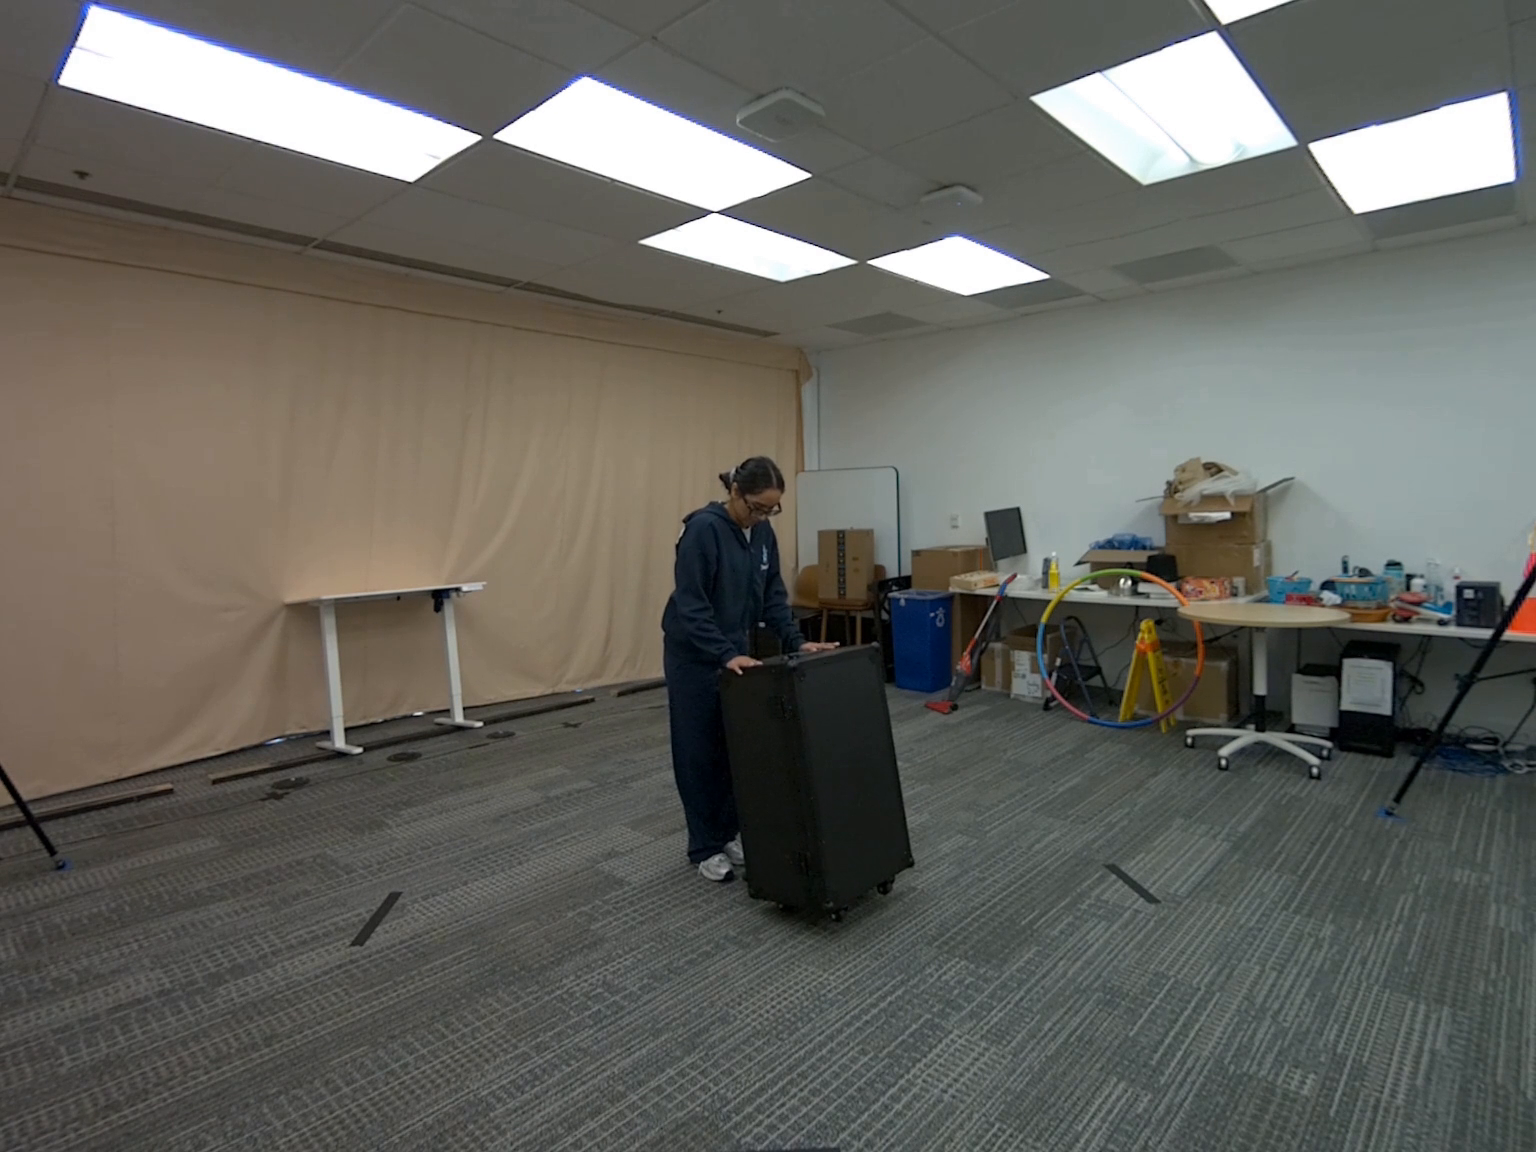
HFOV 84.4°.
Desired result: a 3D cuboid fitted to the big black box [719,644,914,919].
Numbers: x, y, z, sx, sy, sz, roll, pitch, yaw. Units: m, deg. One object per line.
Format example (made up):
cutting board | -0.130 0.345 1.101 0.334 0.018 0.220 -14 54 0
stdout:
big black box | 0.168 0.705 2.936 0.407 0.864 0.505 -12 -5 44
